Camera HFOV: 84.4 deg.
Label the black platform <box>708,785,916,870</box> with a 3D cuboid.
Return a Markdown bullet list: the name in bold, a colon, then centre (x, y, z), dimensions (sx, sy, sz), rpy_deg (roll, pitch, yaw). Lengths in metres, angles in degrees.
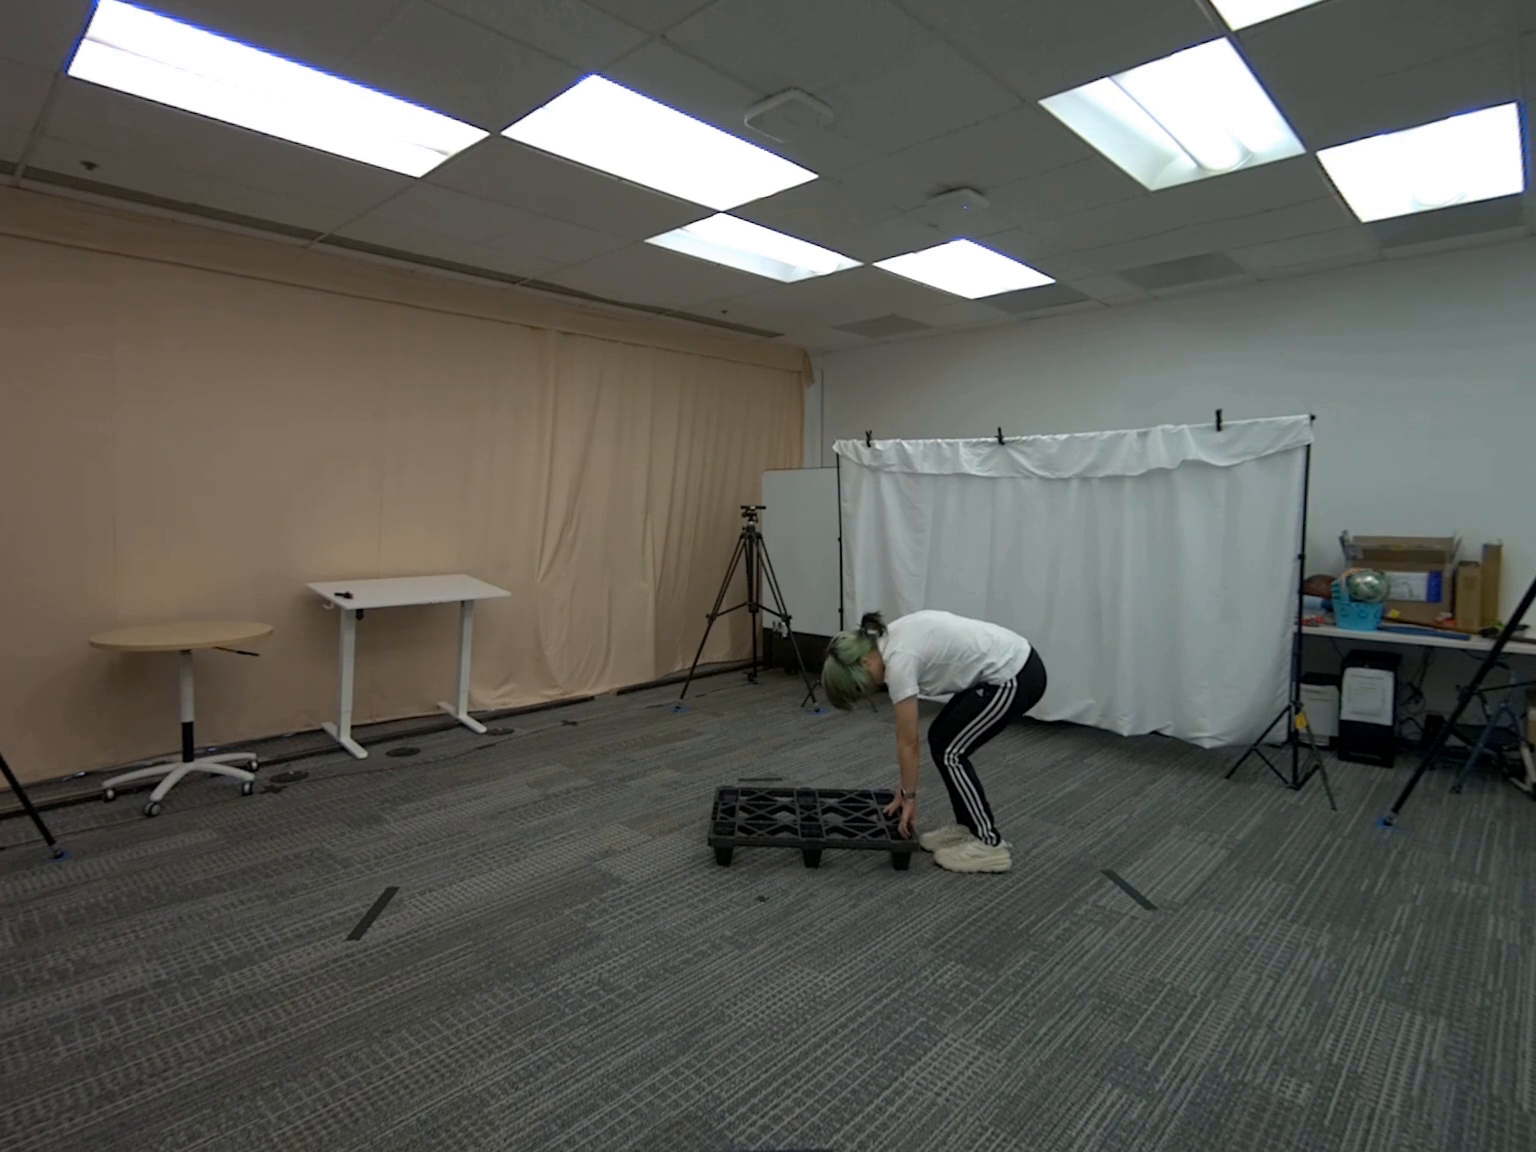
- **black platform**: centre (0.166, 1.033, 3.466), dimensions (0.808, 0.143, 0.604), rpy_deg (1, 3, 2)
